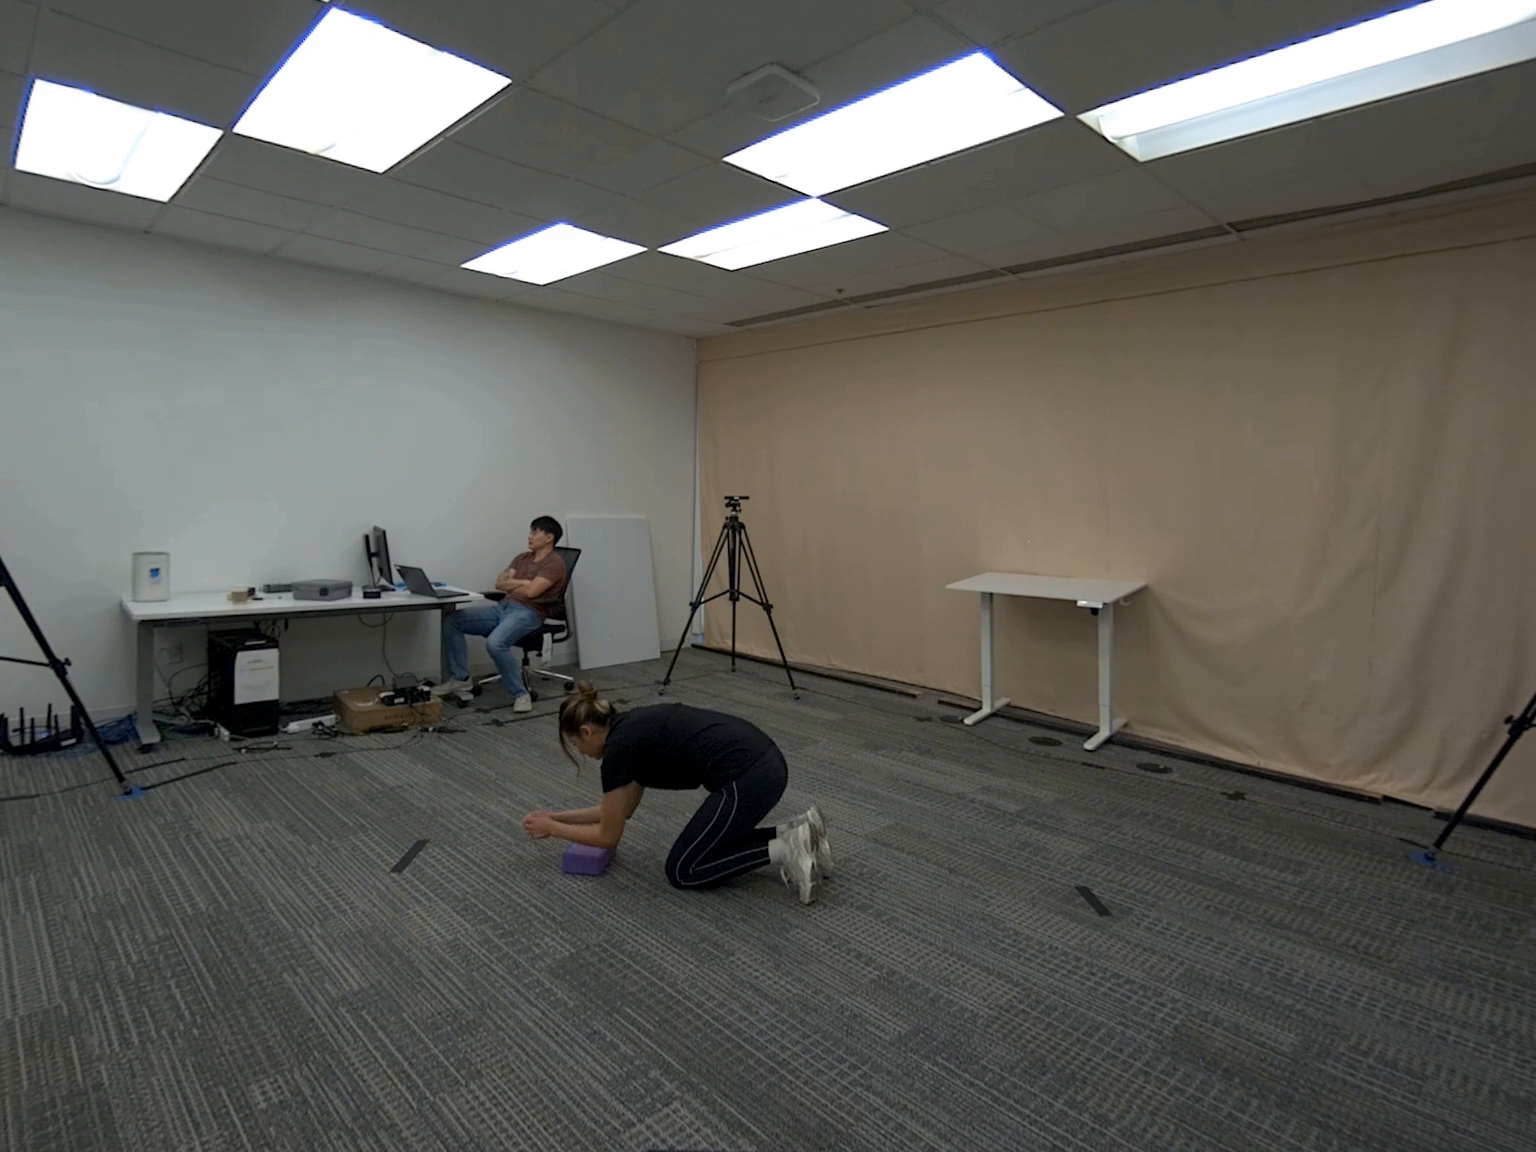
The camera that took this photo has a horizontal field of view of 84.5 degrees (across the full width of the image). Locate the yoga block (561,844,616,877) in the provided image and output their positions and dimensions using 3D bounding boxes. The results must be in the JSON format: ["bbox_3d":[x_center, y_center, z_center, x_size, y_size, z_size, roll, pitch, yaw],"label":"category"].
[{"bbox_3d":[-0.672,1.033,3.178,0.150,0.076,0.228,1,5,8],"label":"yoga block"}]
